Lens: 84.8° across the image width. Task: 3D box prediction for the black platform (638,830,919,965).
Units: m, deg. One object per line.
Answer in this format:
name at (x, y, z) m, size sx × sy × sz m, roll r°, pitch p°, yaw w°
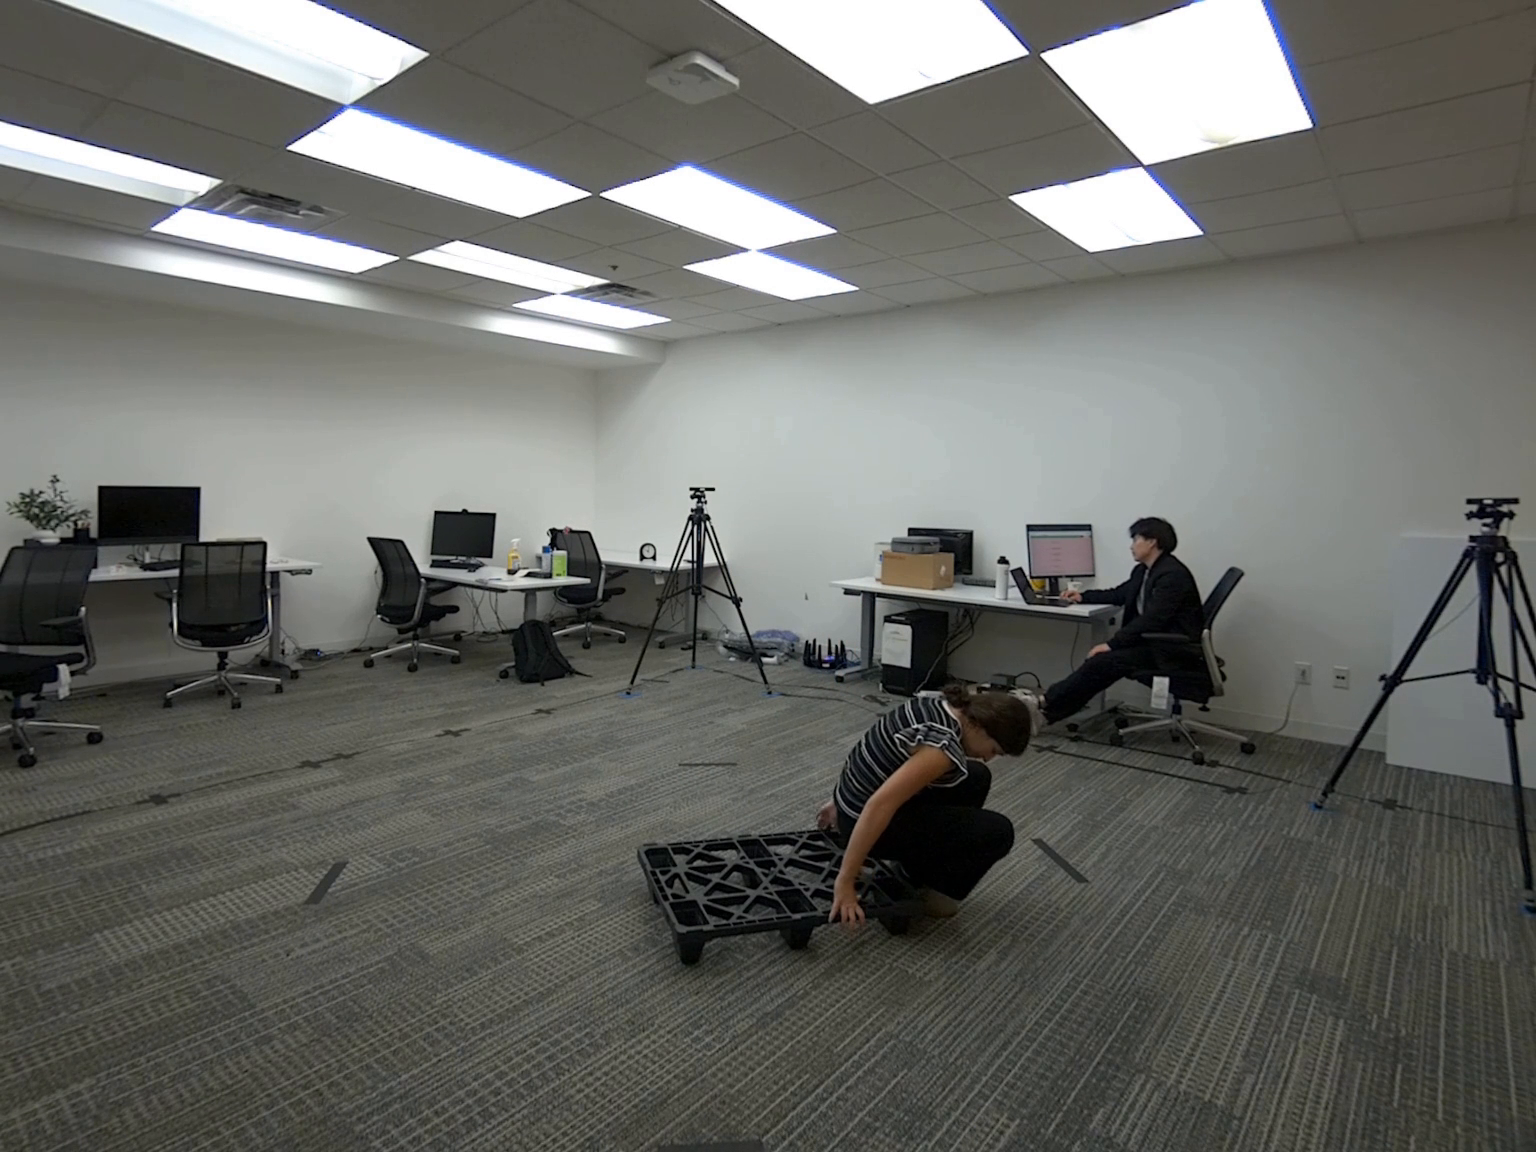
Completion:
black platform at (0.010, 1.033, 2.798) m, size 0.791 × 0.142 × 0.619 m, roll 0°, pitch 7°, yaw -18°
